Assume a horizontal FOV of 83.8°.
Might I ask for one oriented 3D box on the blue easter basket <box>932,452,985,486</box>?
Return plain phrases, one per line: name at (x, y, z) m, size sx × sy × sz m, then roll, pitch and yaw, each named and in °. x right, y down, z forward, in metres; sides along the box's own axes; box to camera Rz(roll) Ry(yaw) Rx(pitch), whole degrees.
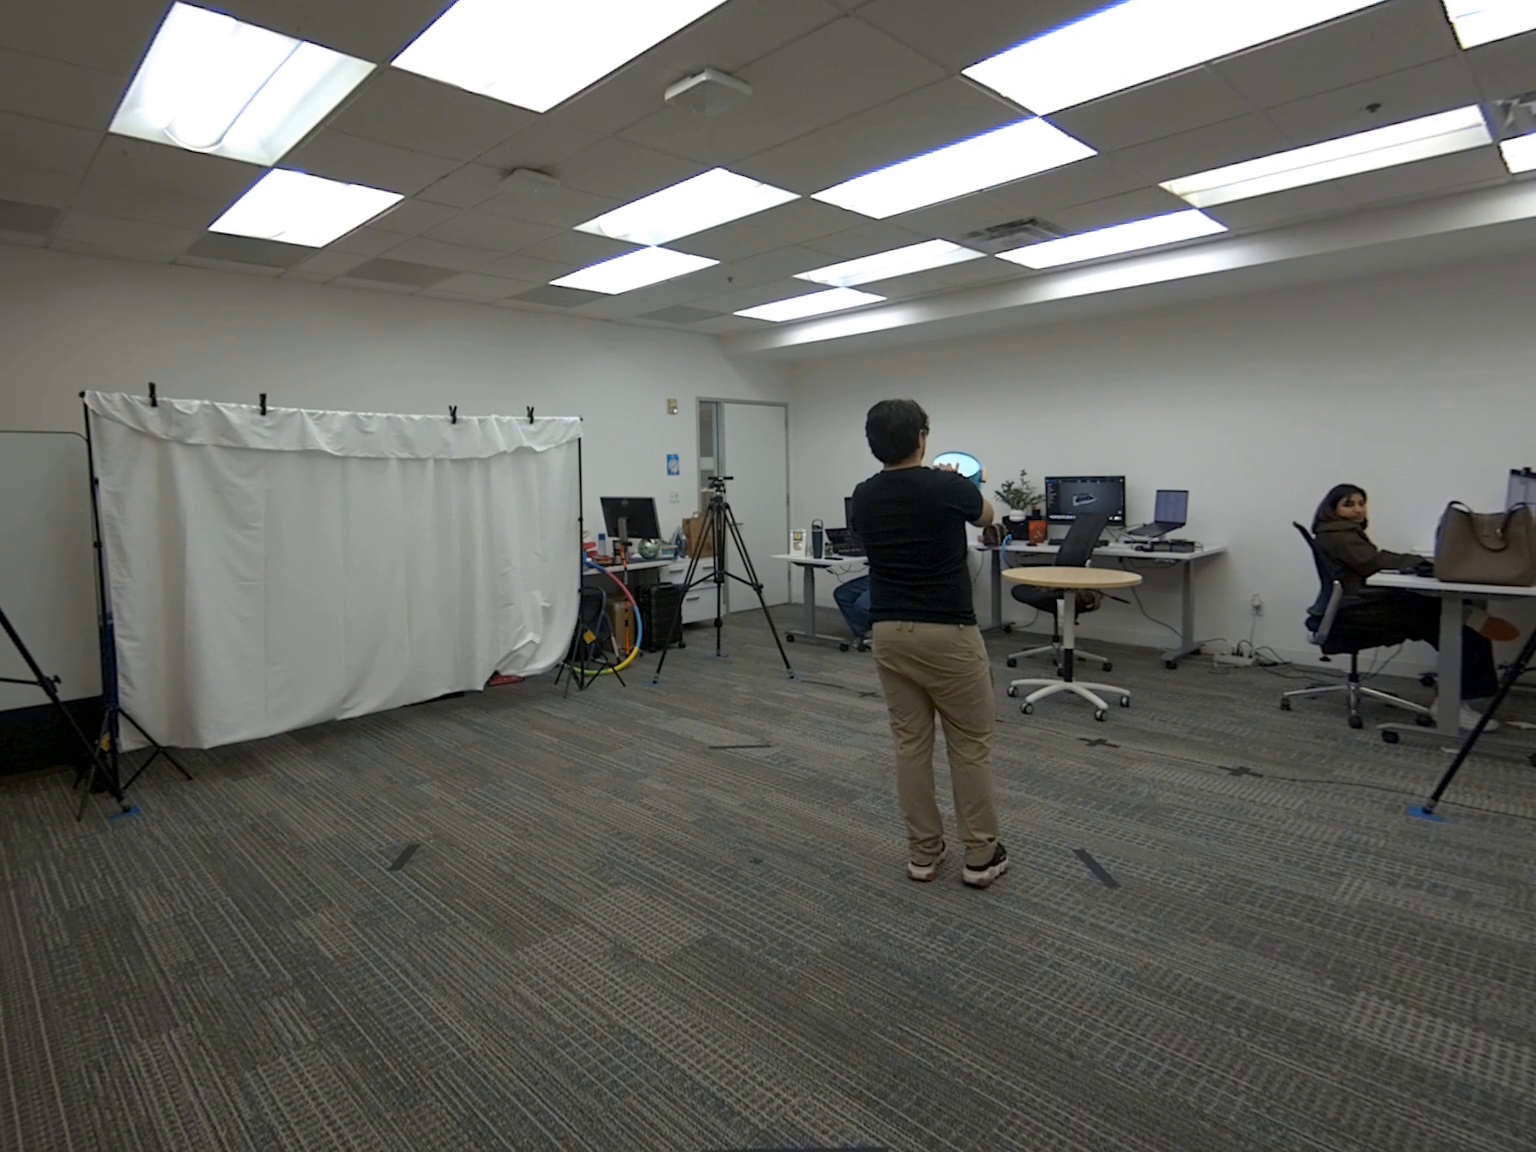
blue easter basket at (0.771, -0.390, 3.449) m, size 0.244 × 0.151 × 0.250 m, roll -4°, pitch 40°, yaw 2°
